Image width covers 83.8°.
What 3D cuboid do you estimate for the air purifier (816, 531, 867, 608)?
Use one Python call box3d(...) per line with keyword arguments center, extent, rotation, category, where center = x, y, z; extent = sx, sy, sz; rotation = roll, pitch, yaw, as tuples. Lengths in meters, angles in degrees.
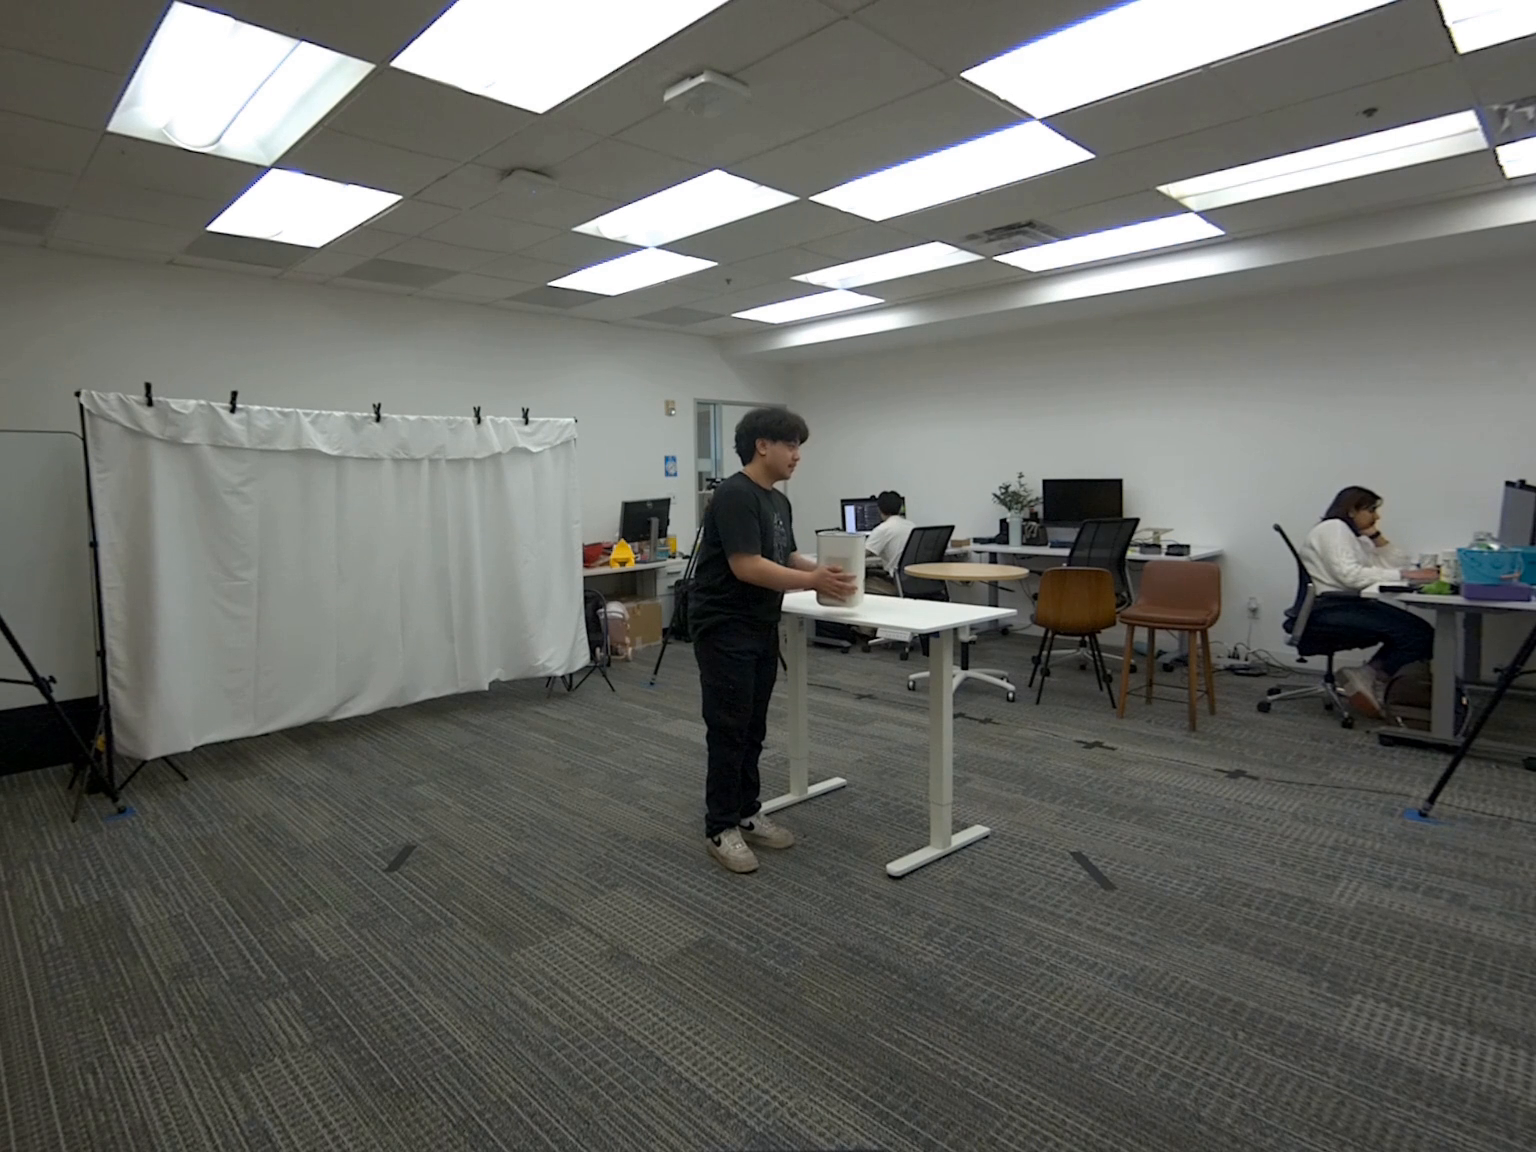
box3d(center=(0.272, -0.024, 3.138), extent=(0.174, 0.264, 0.170), rotation=(1, 6, 13), category="air purifier")
